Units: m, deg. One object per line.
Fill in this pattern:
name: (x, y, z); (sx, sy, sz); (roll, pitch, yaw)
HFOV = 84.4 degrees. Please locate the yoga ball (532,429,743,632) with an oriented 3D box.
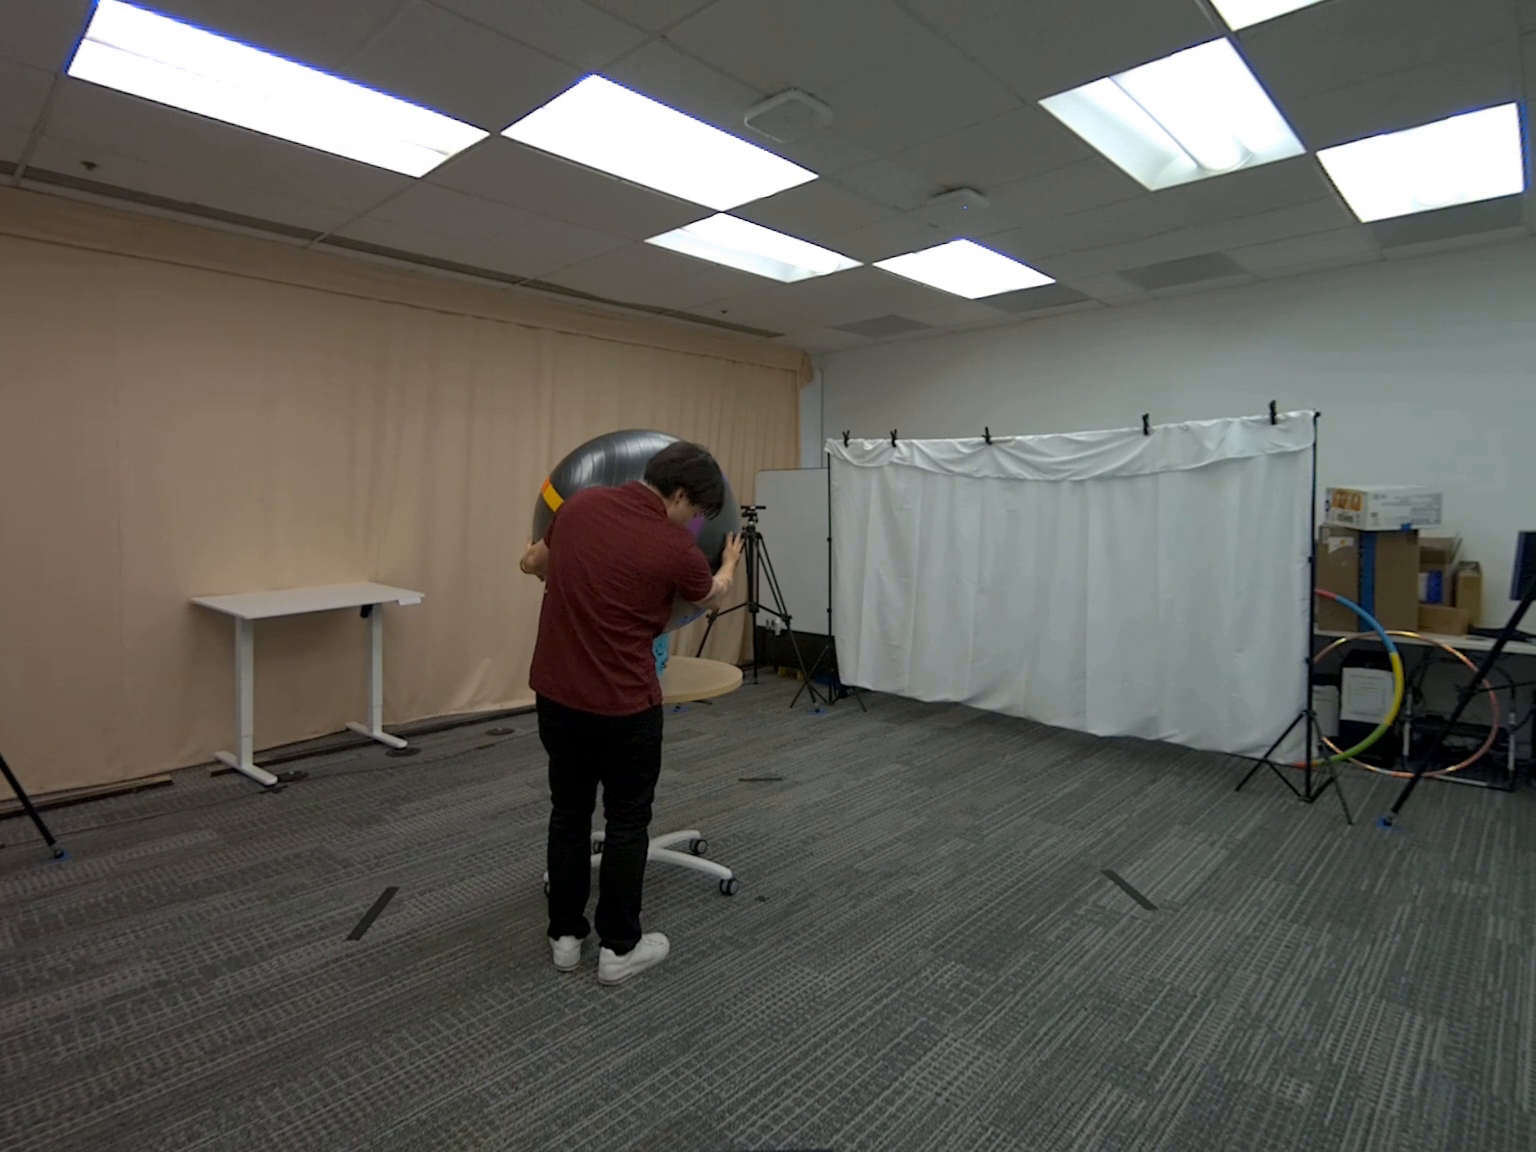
yoga ball: (-0.480, -0.154, 3.091); (0.757, 0.756, 0.761); (0, 4, -2)
